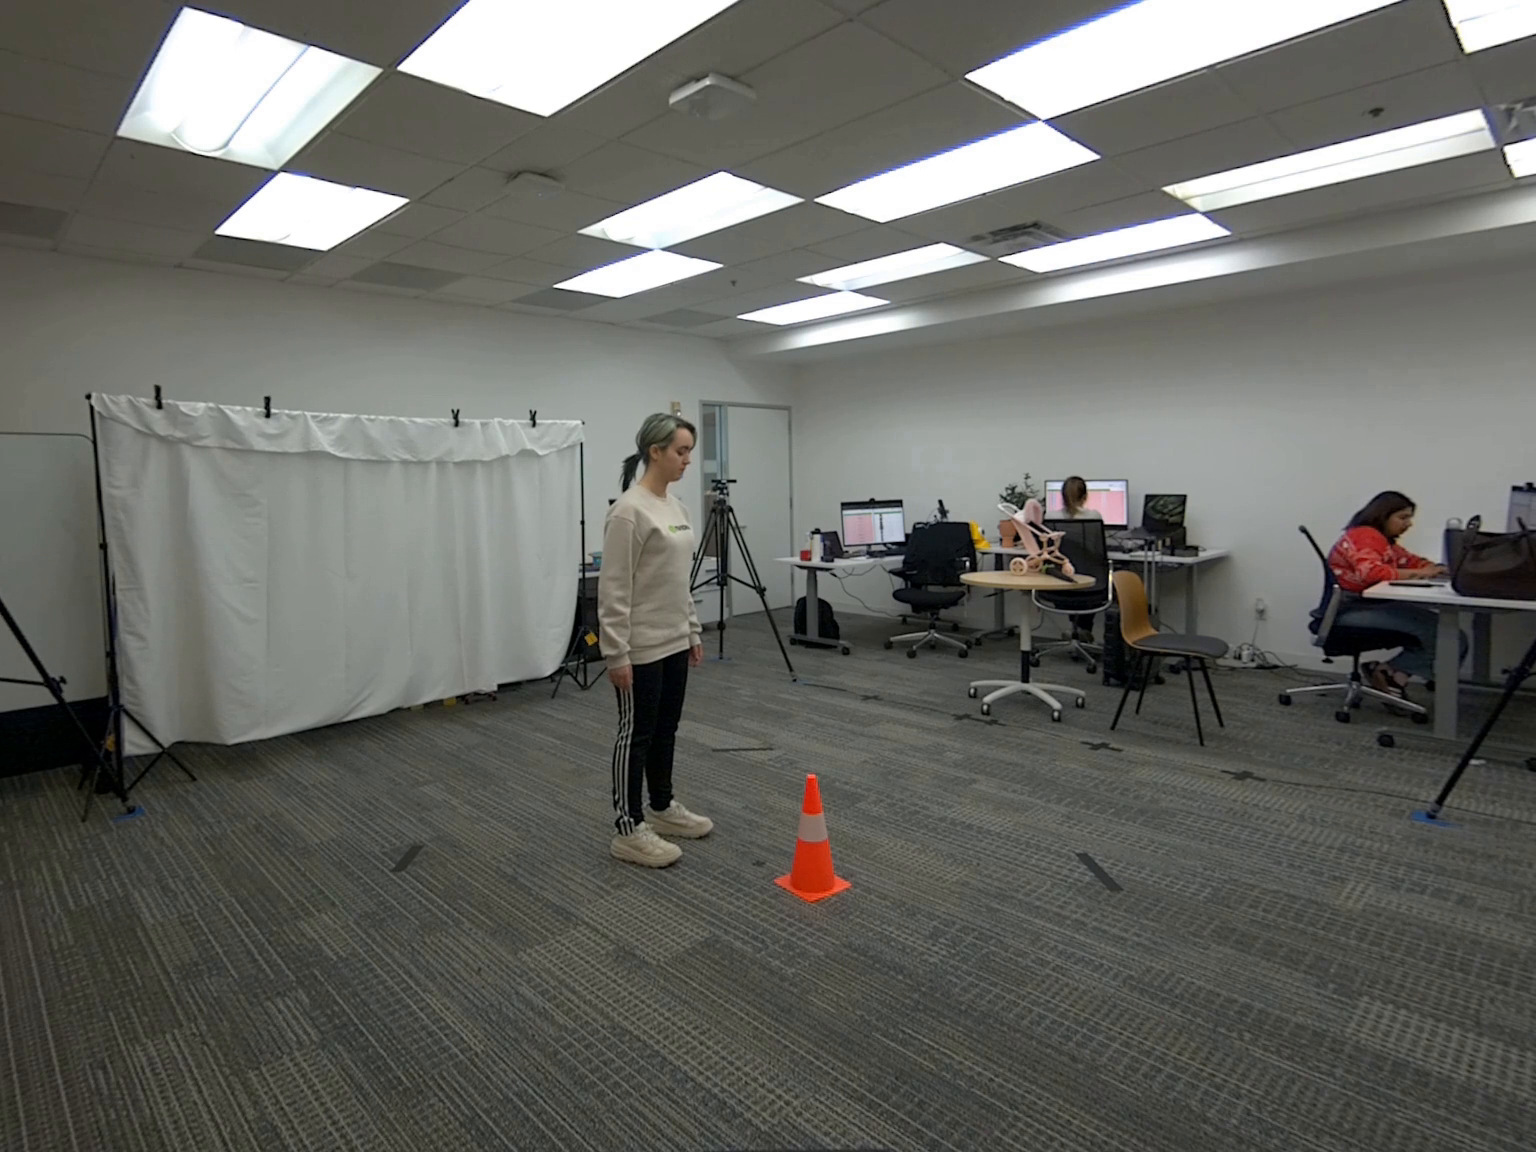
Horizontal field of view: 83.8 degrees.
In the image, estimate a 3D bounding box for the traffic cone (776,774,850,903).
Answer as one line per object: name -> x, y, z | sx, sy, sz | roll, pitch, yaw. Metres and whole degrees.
traffic cone -> 0.150, 0.880, 2.939 | 0.200, 0.382, 0.209 | -5, 5, -35
